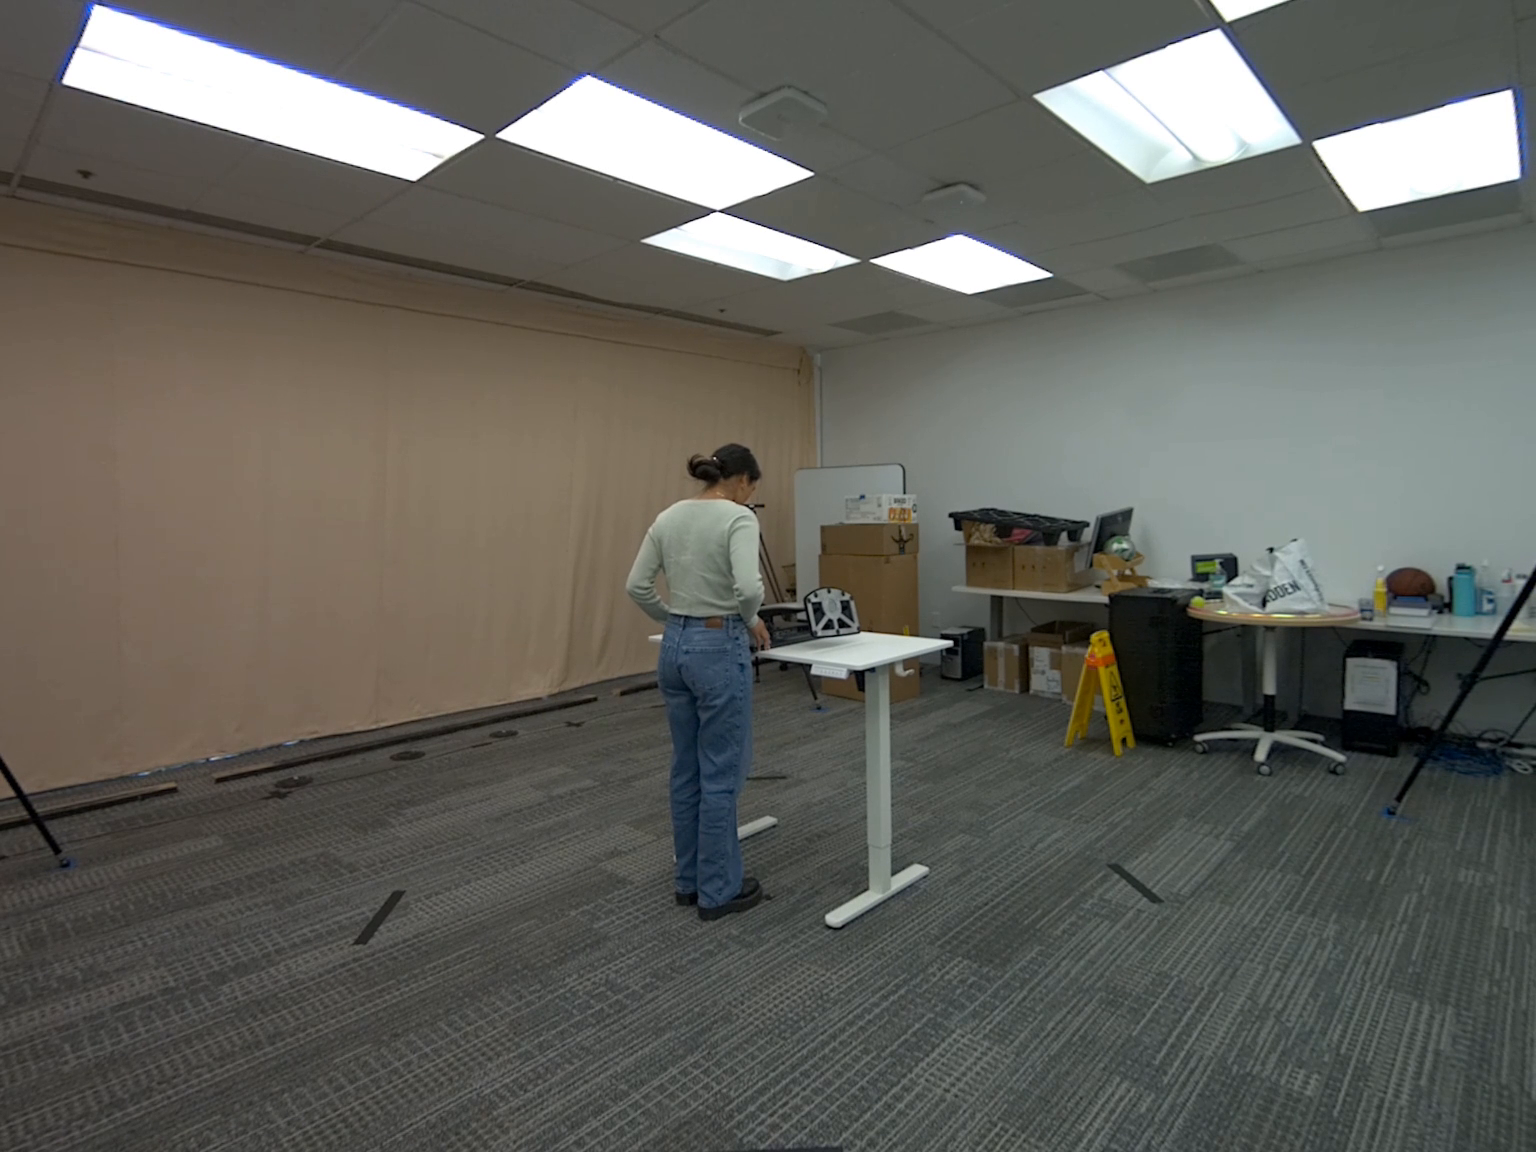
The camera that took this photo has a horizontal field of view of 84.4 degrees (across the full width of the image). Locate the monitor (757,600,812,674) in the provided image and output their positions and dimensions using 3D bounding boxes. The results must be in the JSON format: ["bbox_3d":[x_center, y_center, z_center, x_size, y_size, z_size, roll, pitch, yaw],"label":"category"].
[{"bbox_3d":[0.056,0.183,3.154,0.536,0.188,0.522,-16,-10,43],"label":"monitor"}]
